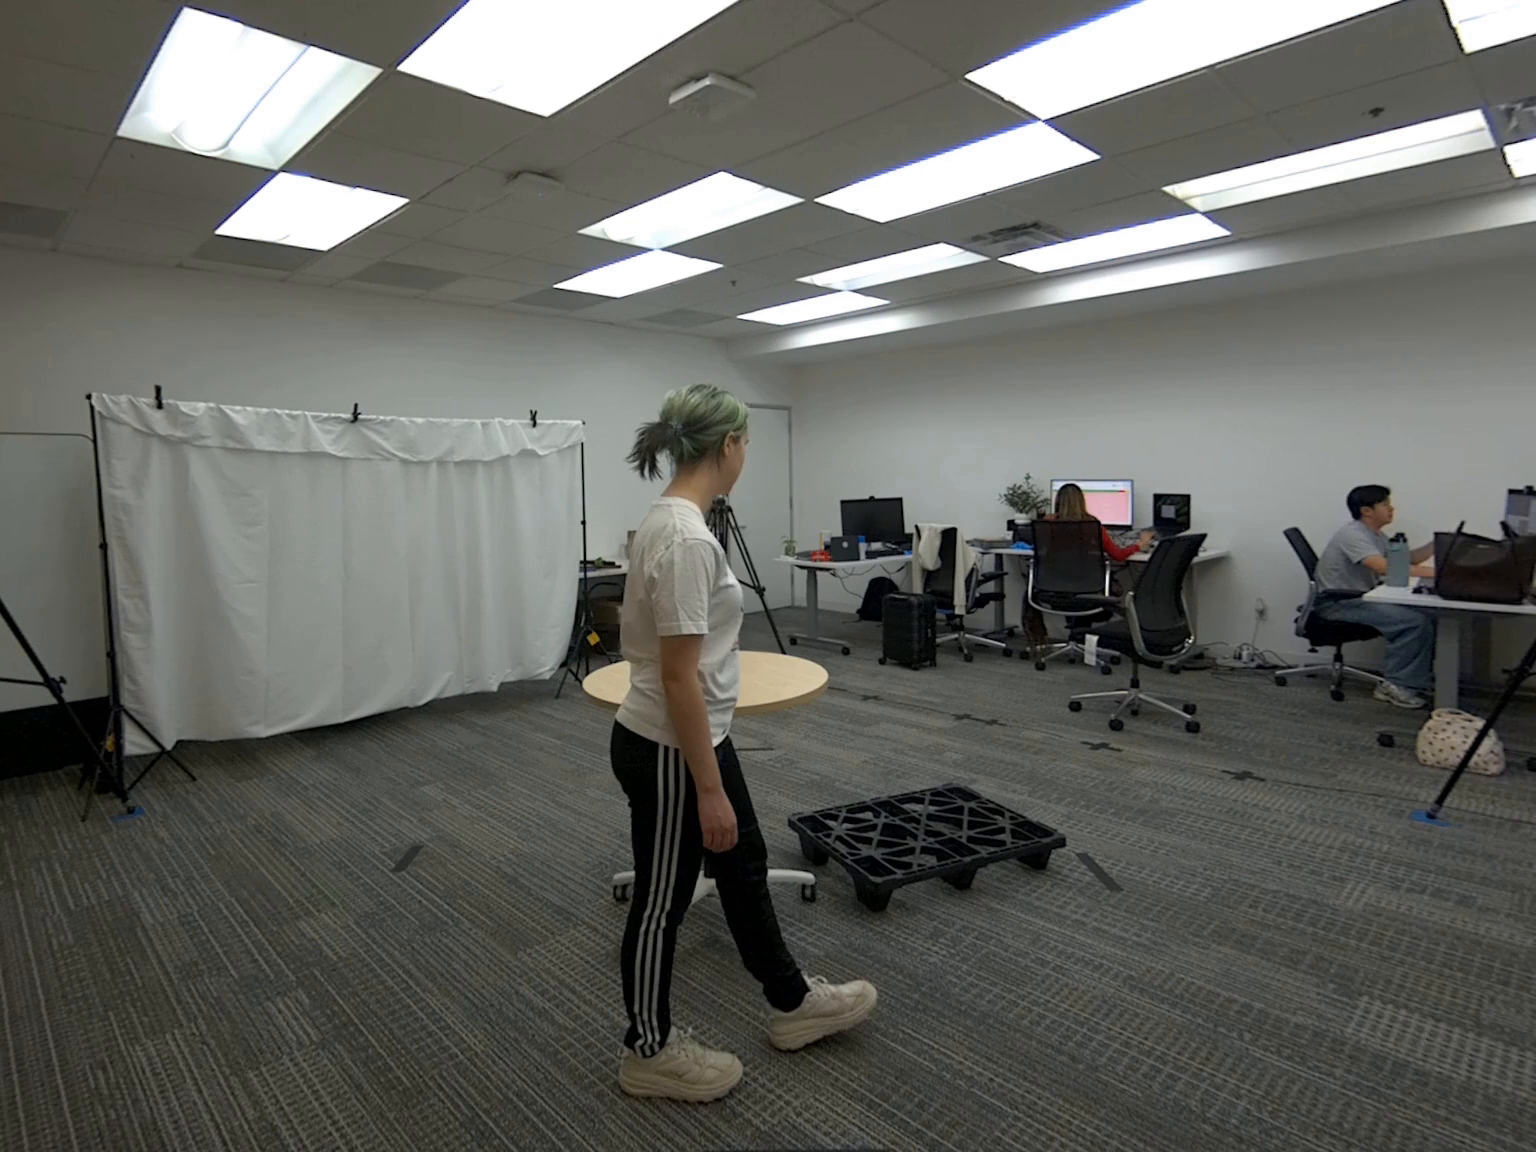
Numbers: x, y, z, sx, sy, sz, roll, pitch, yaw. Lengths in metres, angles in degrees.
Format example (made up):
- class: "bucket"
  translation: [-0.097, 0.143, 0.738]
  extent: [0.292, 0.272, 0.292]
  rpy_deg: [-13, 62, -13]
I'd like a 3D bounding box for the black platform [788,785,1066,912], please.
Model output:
- class: "black platform"
  translation: [0.565, 0.969, 3.096]
  extent: [0.789, 0.142, 0.621]
  rpy_deg: [-4, 8, -25]
